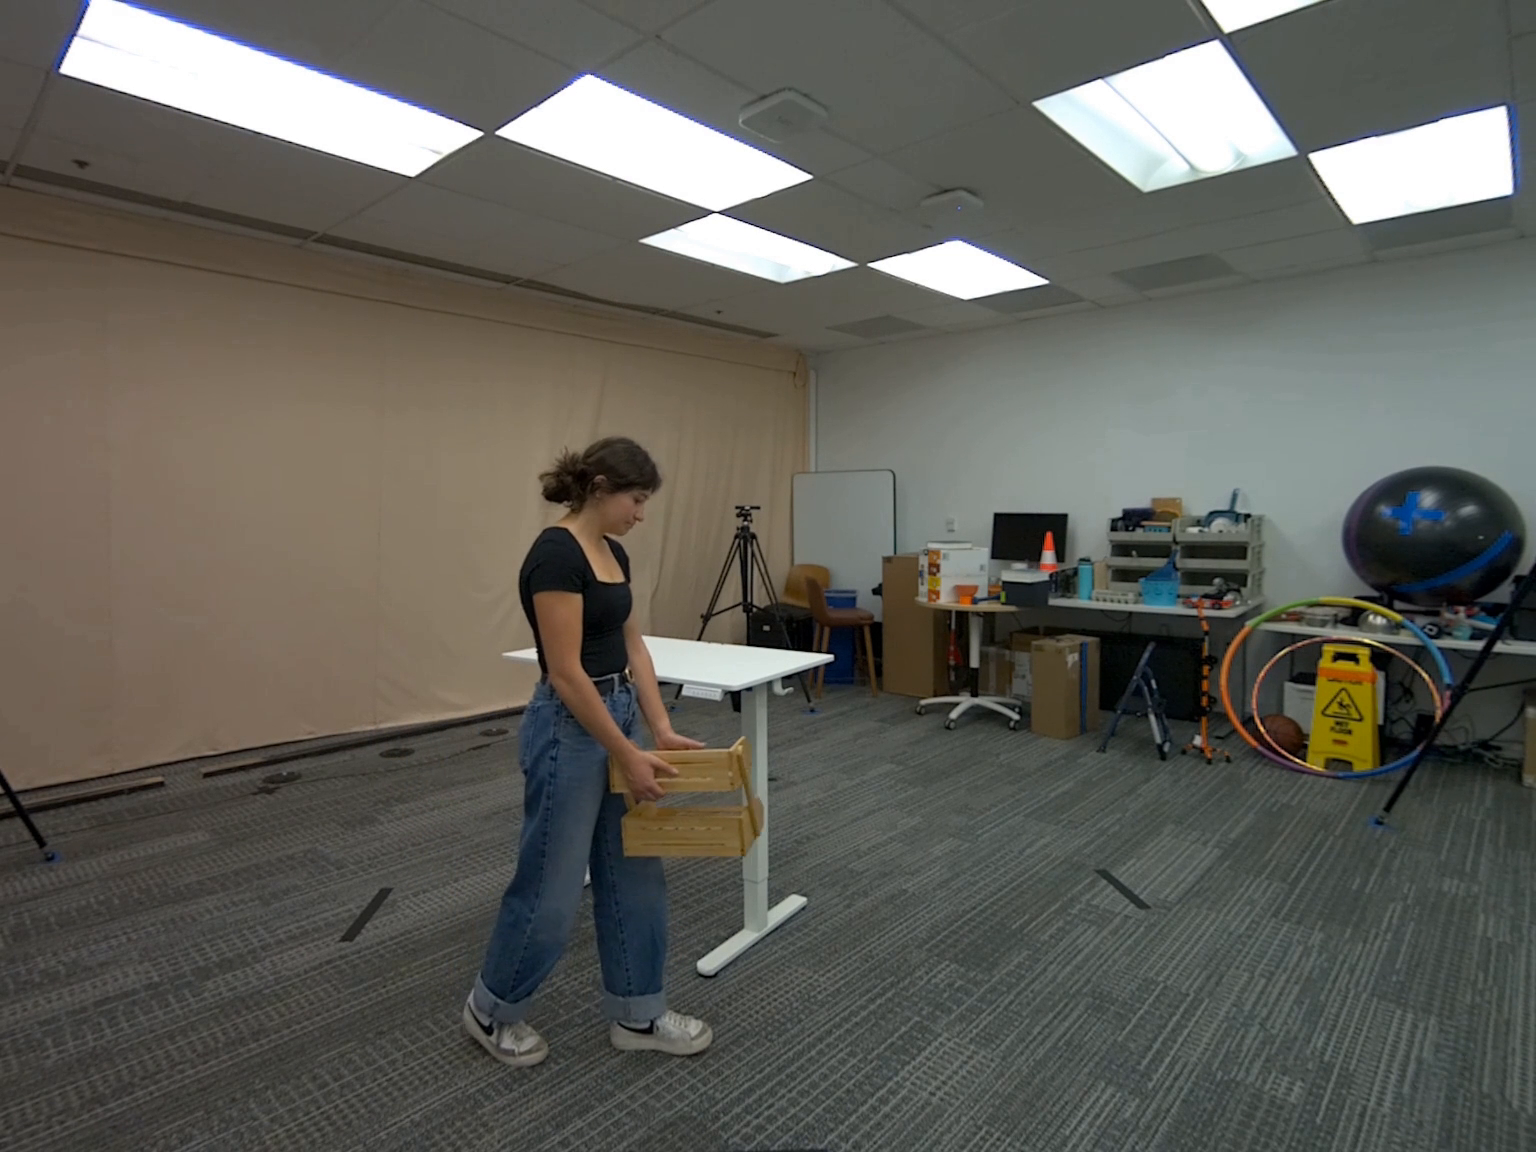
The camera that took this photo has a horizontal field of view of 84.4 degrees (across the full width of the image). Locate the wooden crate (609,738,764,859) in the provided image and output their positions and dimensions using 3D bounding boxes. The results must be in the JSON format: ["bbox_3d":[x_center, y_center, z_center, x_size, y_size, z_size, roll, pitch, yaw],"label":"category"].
[{"bbox_3d":[-0.195,0.530,2.087,0.328,0.273,0.298,-5,0,11],"label":"wooden crate"}]
